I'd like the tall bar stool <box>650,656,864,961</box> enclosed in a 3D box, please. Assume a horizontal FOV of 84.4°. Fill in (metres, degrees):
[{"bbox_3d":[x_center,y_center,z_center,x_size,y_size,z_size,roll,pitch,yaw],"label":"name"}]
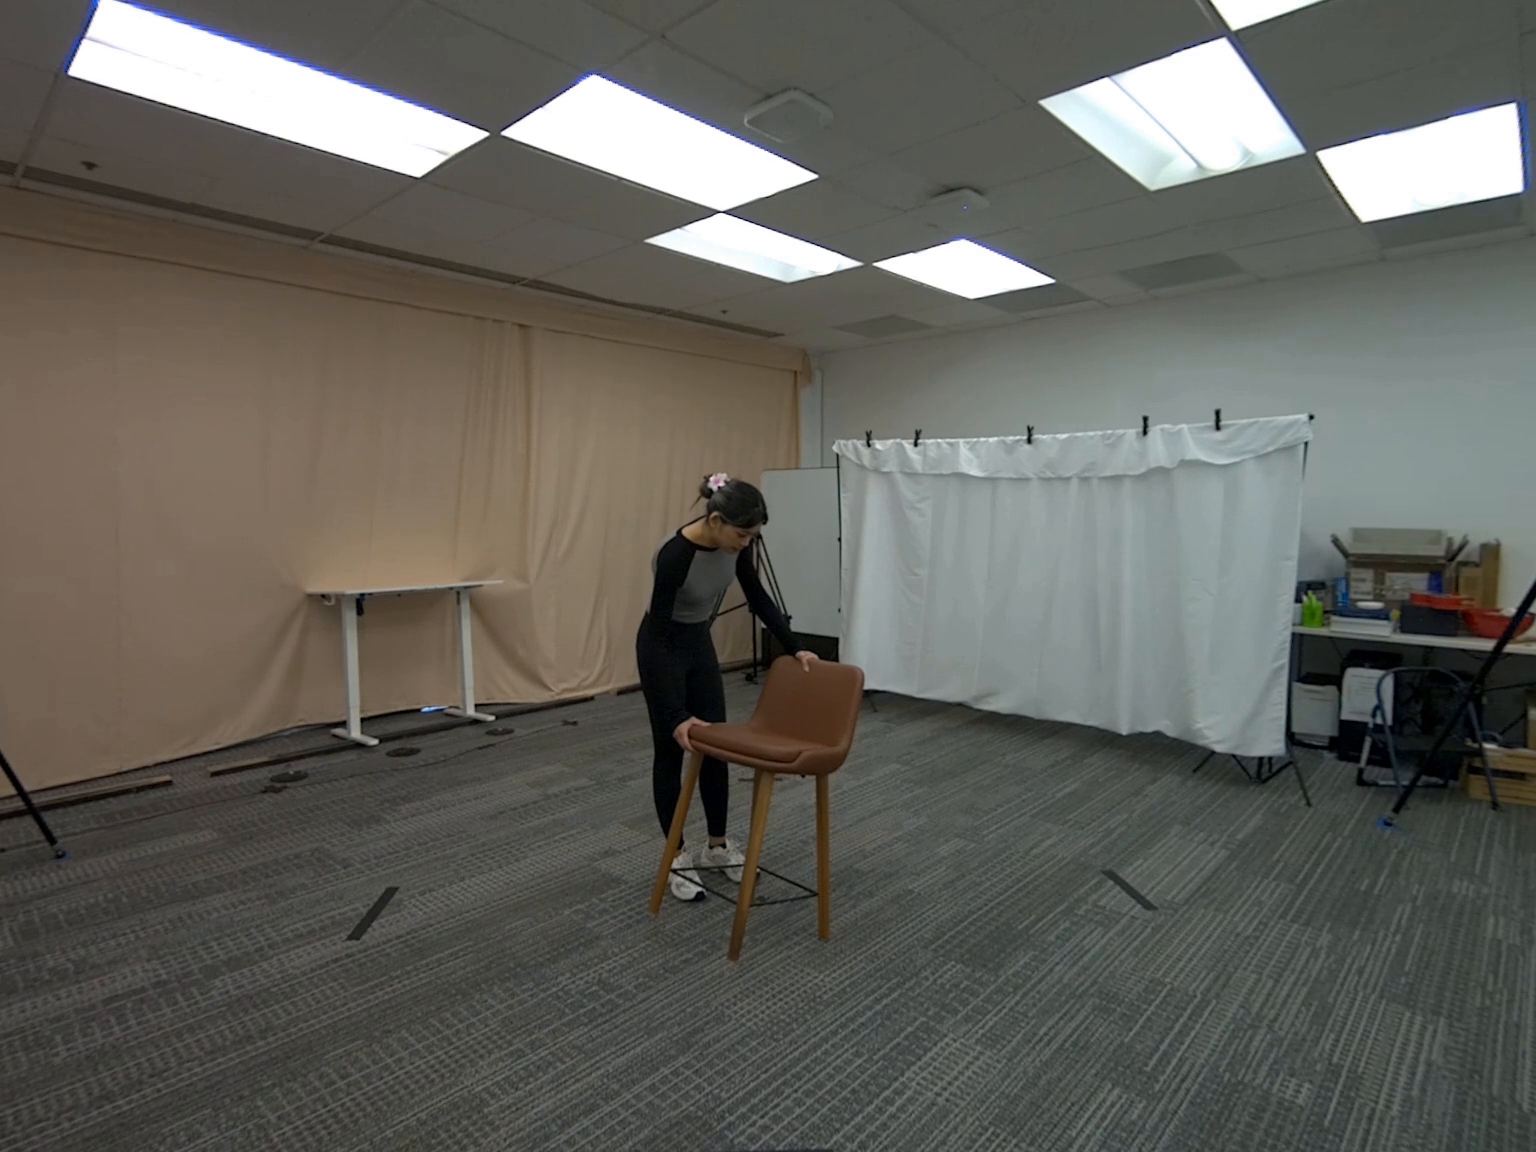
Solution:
[{"bbox_3d":[-0.013,0.695,2.731,0.451,0.892,0.472,16,-9,-43],"label":"tall bar stool"}]
